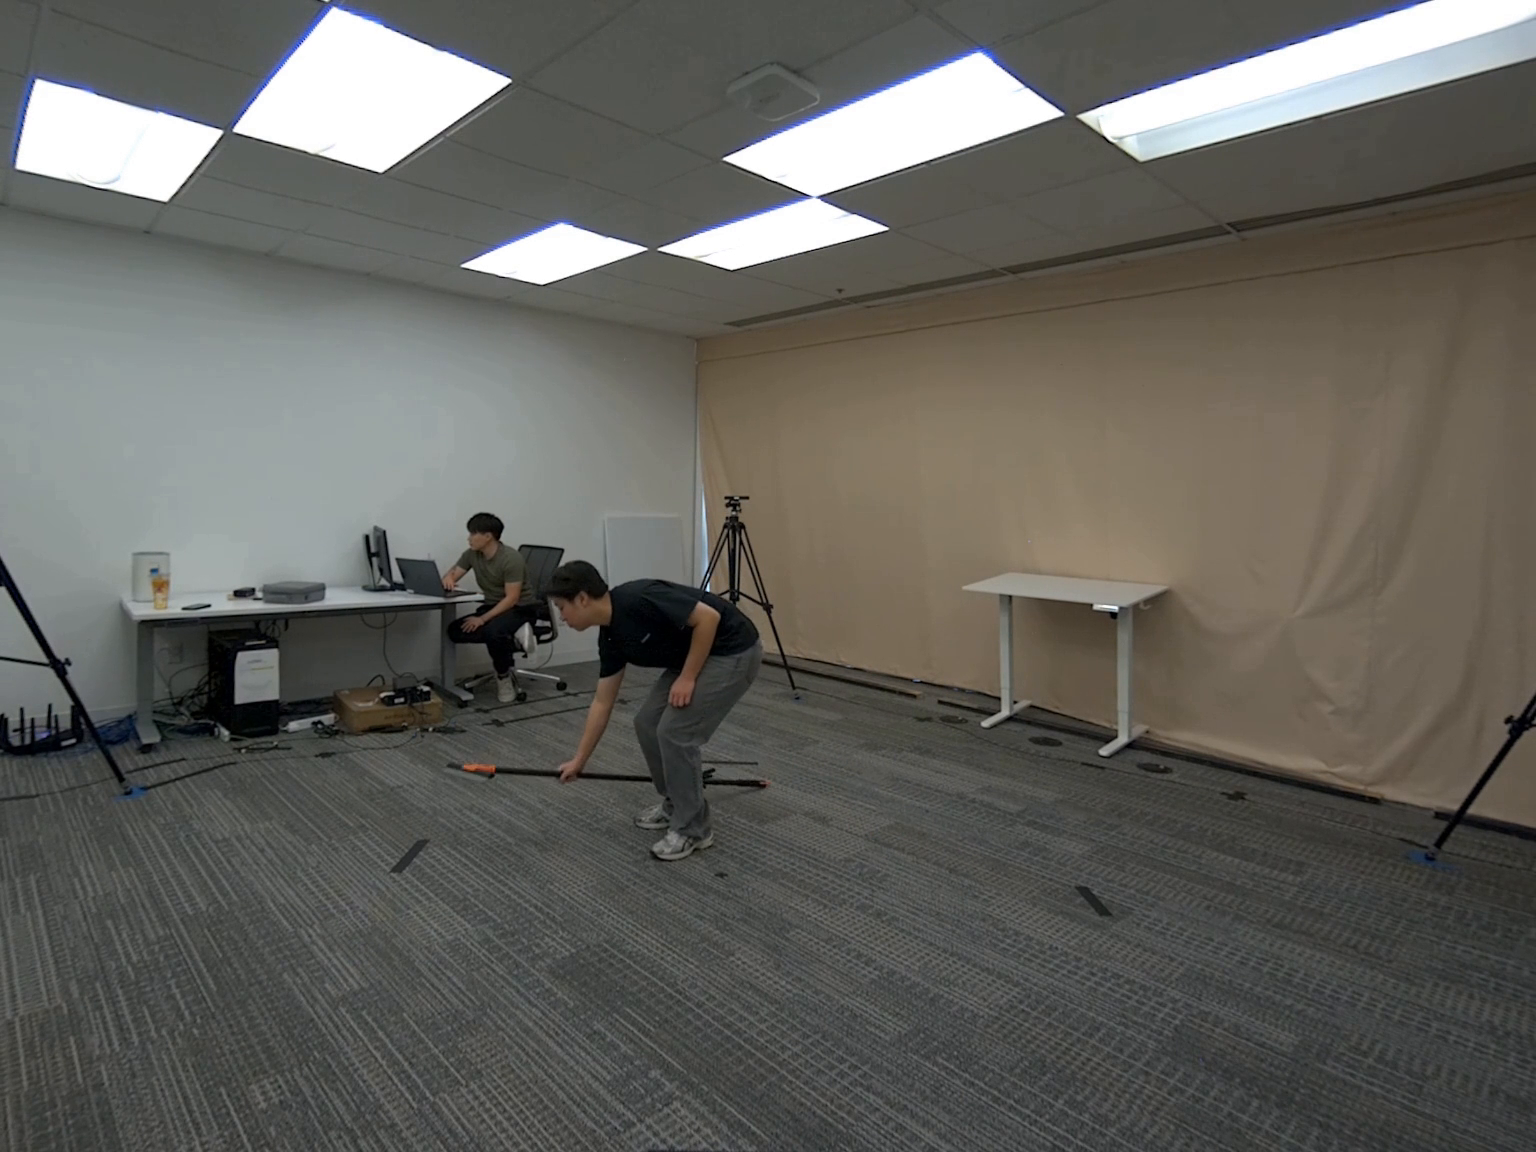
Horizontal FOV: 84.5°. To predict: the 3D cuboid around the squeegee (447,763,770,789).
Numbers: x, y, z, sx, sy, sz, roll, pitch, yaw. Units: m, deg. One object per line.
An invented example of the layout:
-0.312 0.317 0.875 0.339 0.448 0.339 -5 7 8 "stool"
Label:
-0.591 0.859 3.651 1.496 0.053 0.446 13 -13 -37 "squeegee"
